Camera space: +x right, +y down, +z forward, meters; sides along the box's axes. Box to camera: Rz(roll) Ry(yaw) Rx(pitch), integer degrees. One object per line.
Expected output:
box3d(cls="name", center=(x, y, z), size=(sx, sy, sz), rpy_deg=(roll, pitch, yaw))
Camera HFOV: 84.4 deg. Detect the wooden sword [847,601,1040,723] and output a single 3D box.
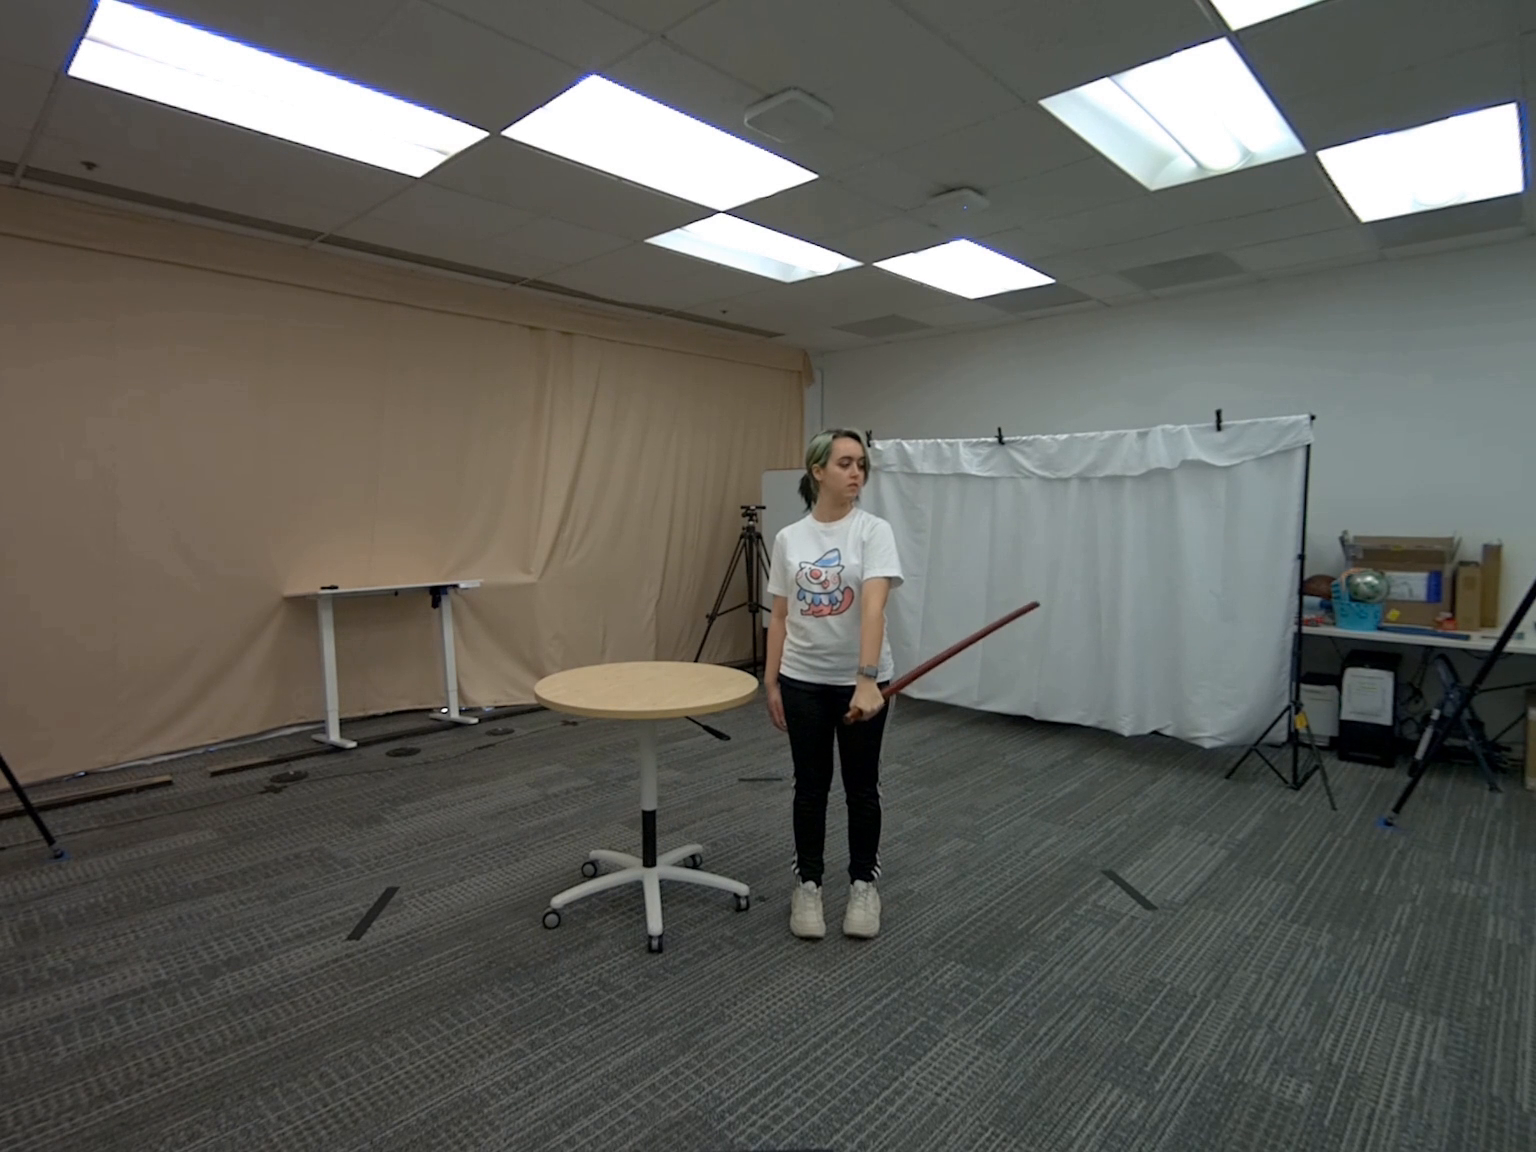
box3d(cls="wooden sword", center=(0.626, 0.245, 2.707), size=(1.003, 0.051, 0.025), rpy_deg=(-24, 6, -36))
